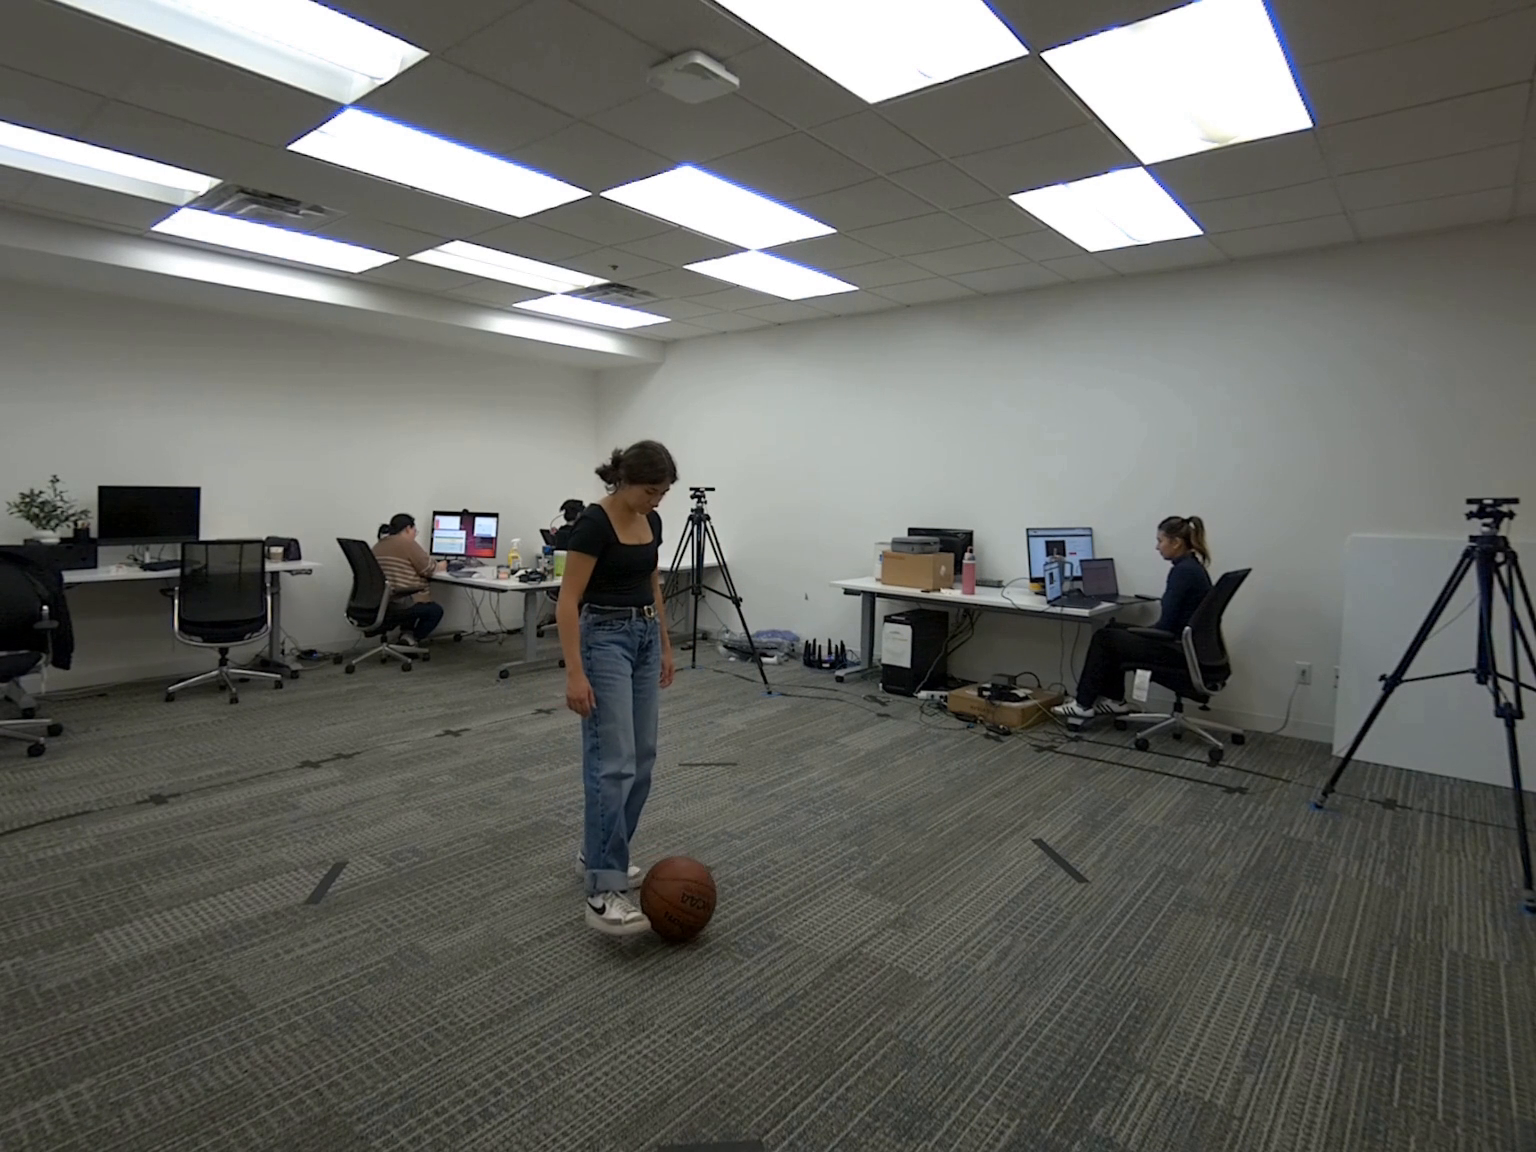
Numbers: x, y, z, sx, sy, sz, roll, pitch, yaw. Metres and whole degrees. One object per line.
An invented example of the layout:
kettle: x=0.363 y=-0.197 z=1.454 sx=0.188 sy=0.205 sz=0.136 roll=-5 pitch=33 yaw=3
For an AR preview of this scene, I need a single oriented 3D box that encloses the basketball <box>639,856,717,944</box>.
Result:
basketball: x=-0.284 y=0.993 z=2.632 sx=0.235 sy=0.235 sz=0.237 roll=1 pitch=4 yaw=-2
